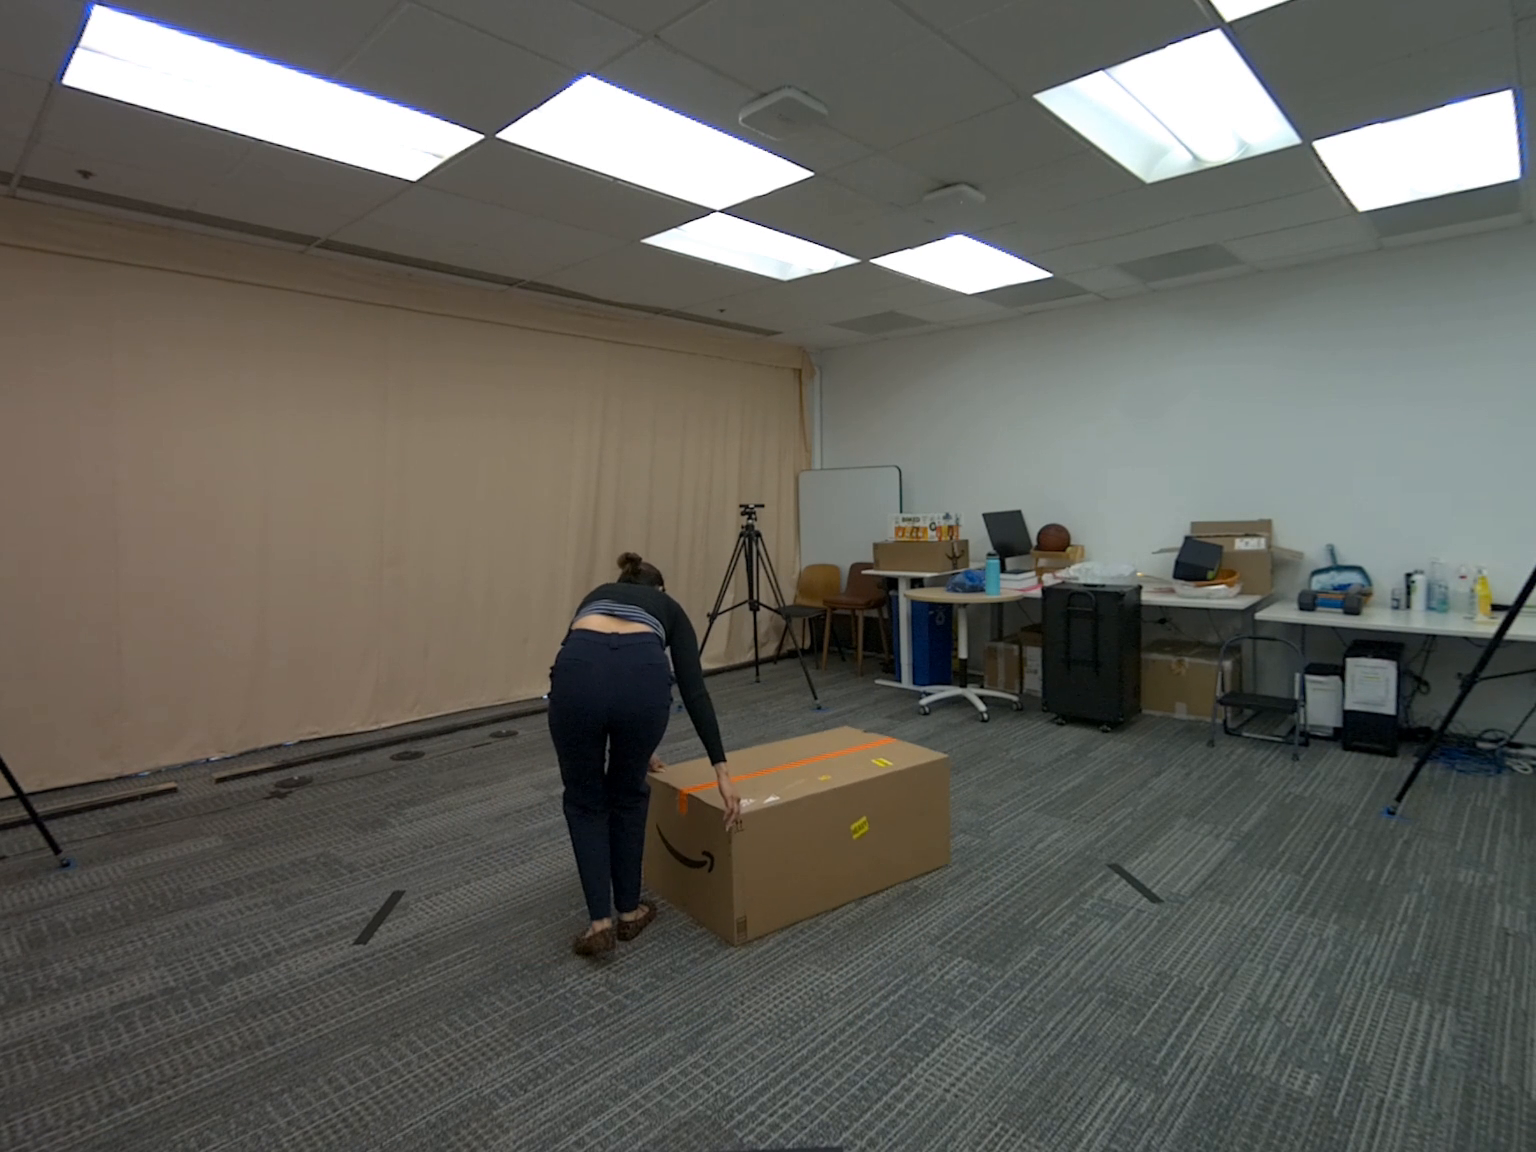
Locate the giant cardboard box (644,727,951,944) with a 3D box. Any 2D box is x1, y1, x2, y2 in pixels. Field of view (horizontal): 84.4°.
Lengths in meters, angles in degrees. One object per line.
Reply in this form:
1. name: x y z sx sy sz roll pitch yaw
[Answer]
1. giant cardboard box: 0.117 0.910 3.155 0.996 0.425 0.596 -4 6 -36
